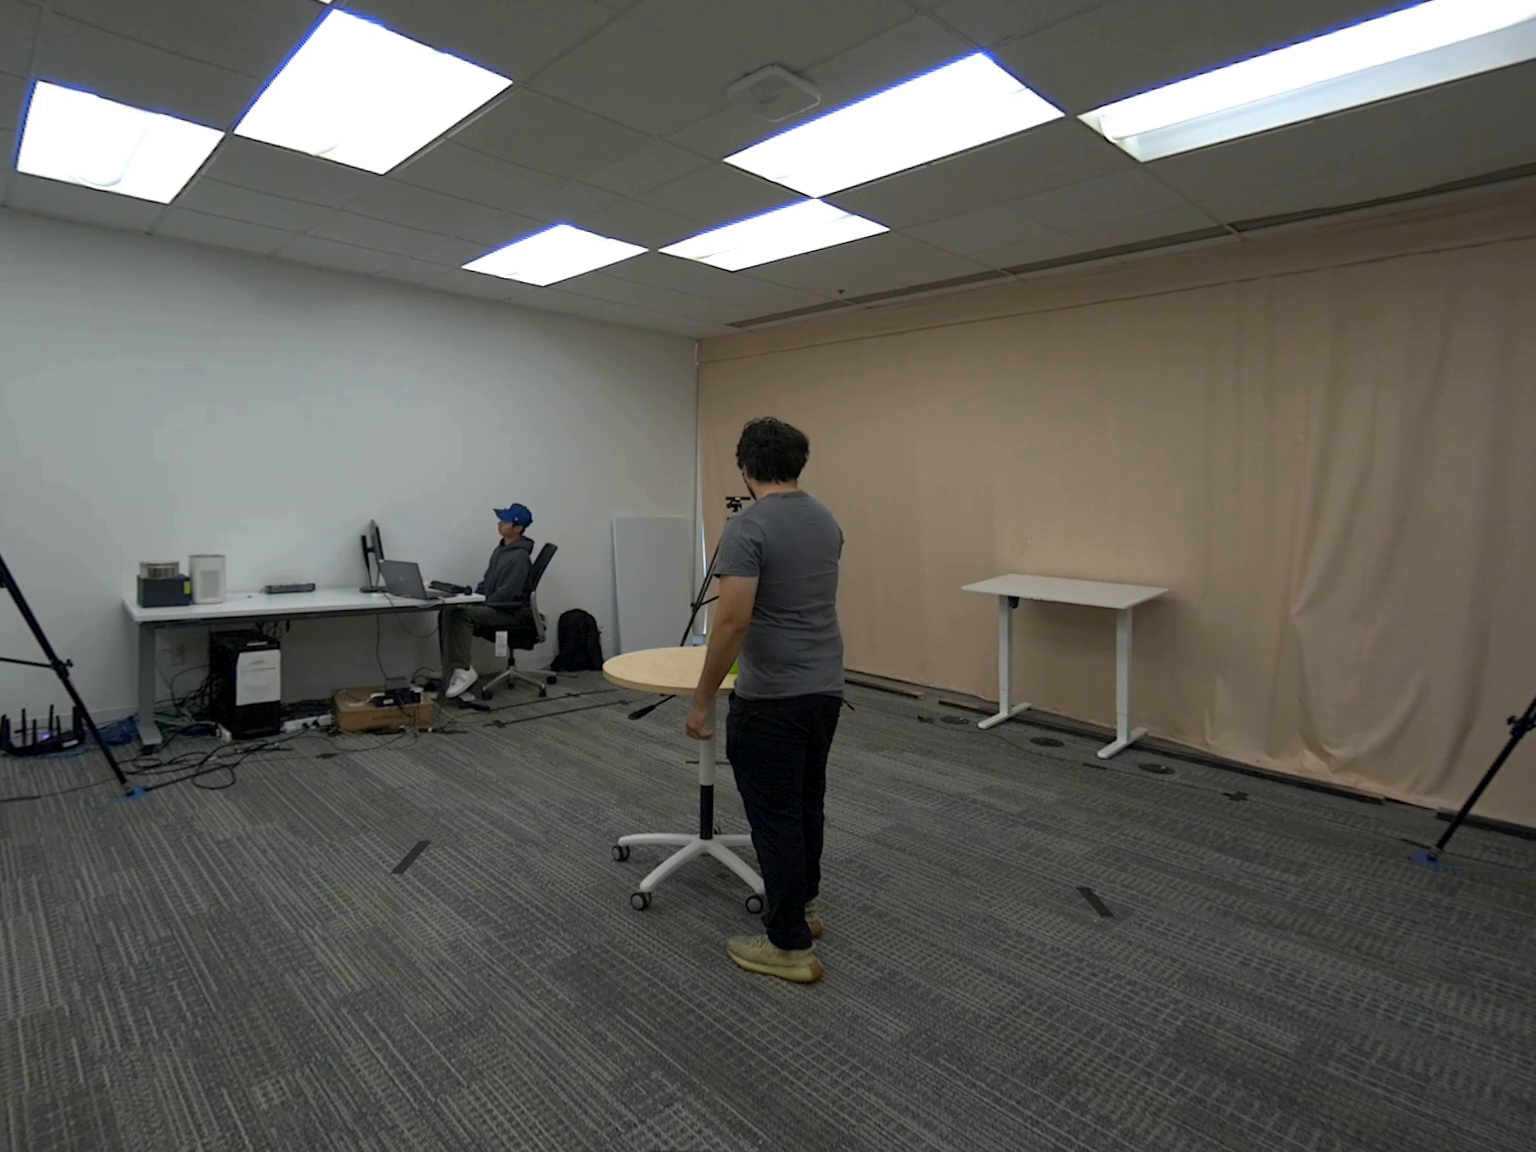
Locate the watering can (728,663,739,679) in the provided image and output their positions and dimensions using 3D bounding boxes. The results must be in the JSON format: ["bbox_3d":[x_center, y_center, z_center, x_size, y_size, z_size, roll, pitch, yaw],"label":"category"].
[{"bbox_3d":[-0.071,0.255,2.958,0.278,0.176,0.098,-1,3,0],"label":"watering can"}]
